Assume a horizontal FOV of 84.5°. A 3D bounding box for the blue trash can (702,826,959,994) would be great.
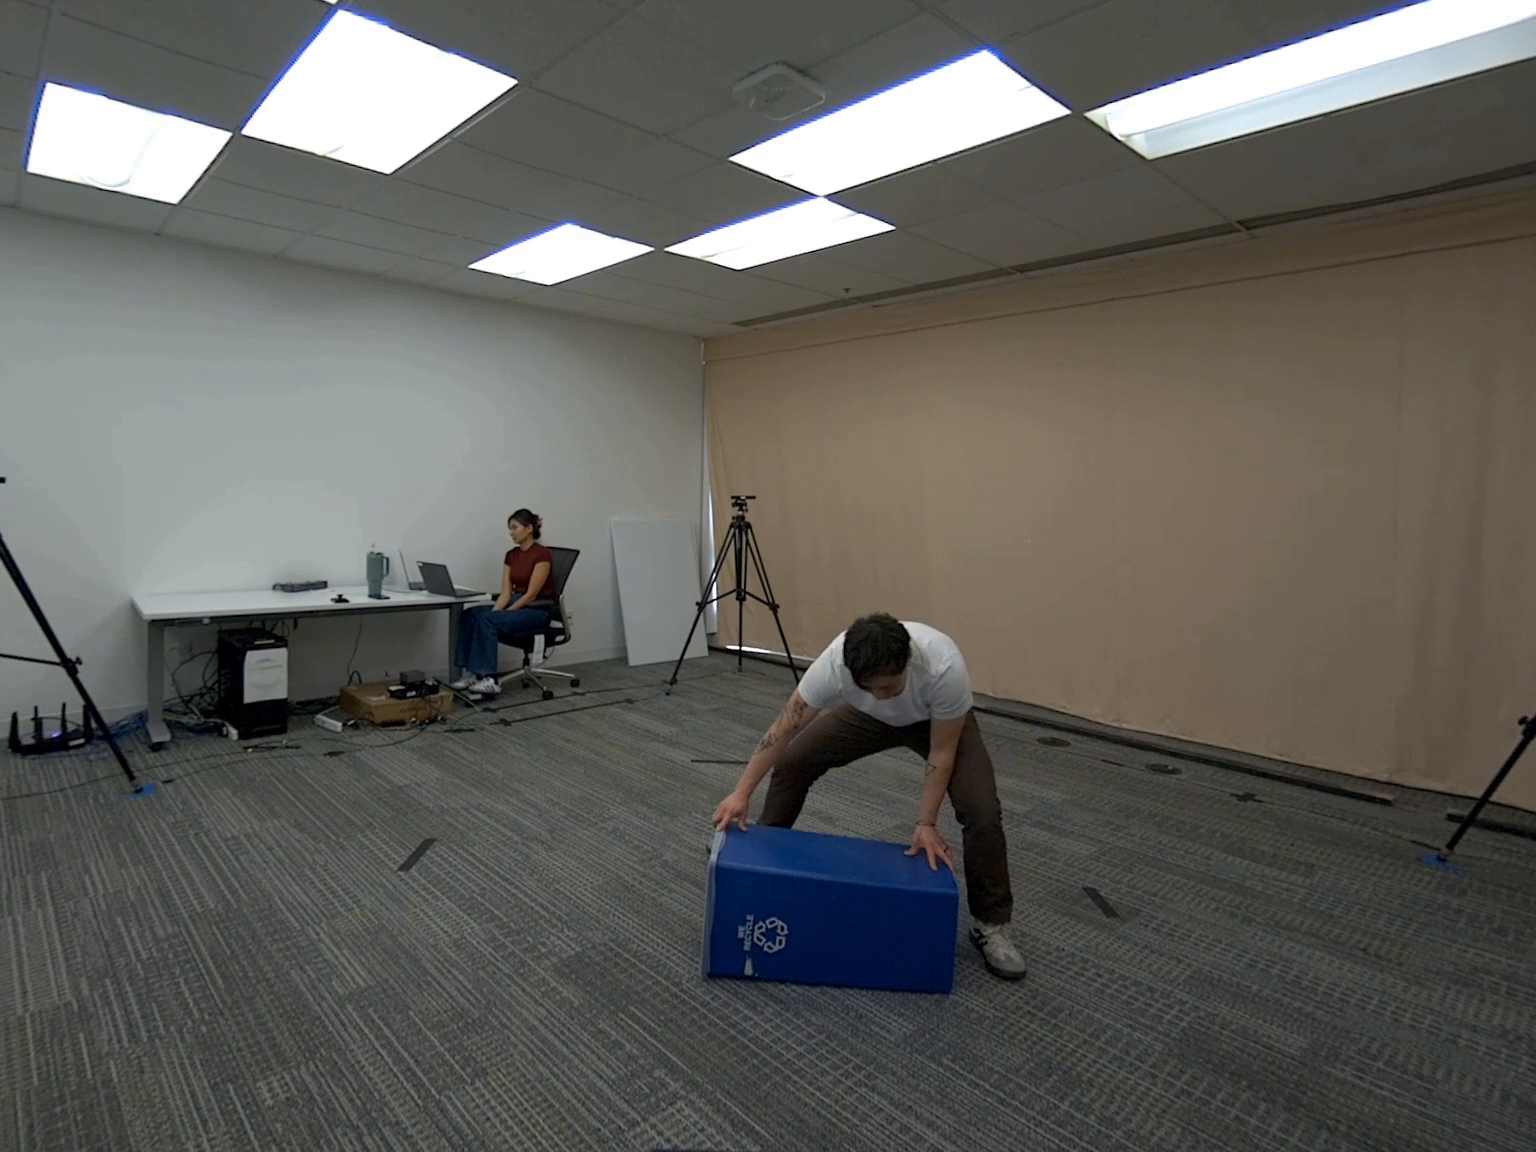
[{"bbox_3d":[0.161,0.992,2.532,0.717,0.377,0.373,4,3,6],"label":"blue trash can"}]
